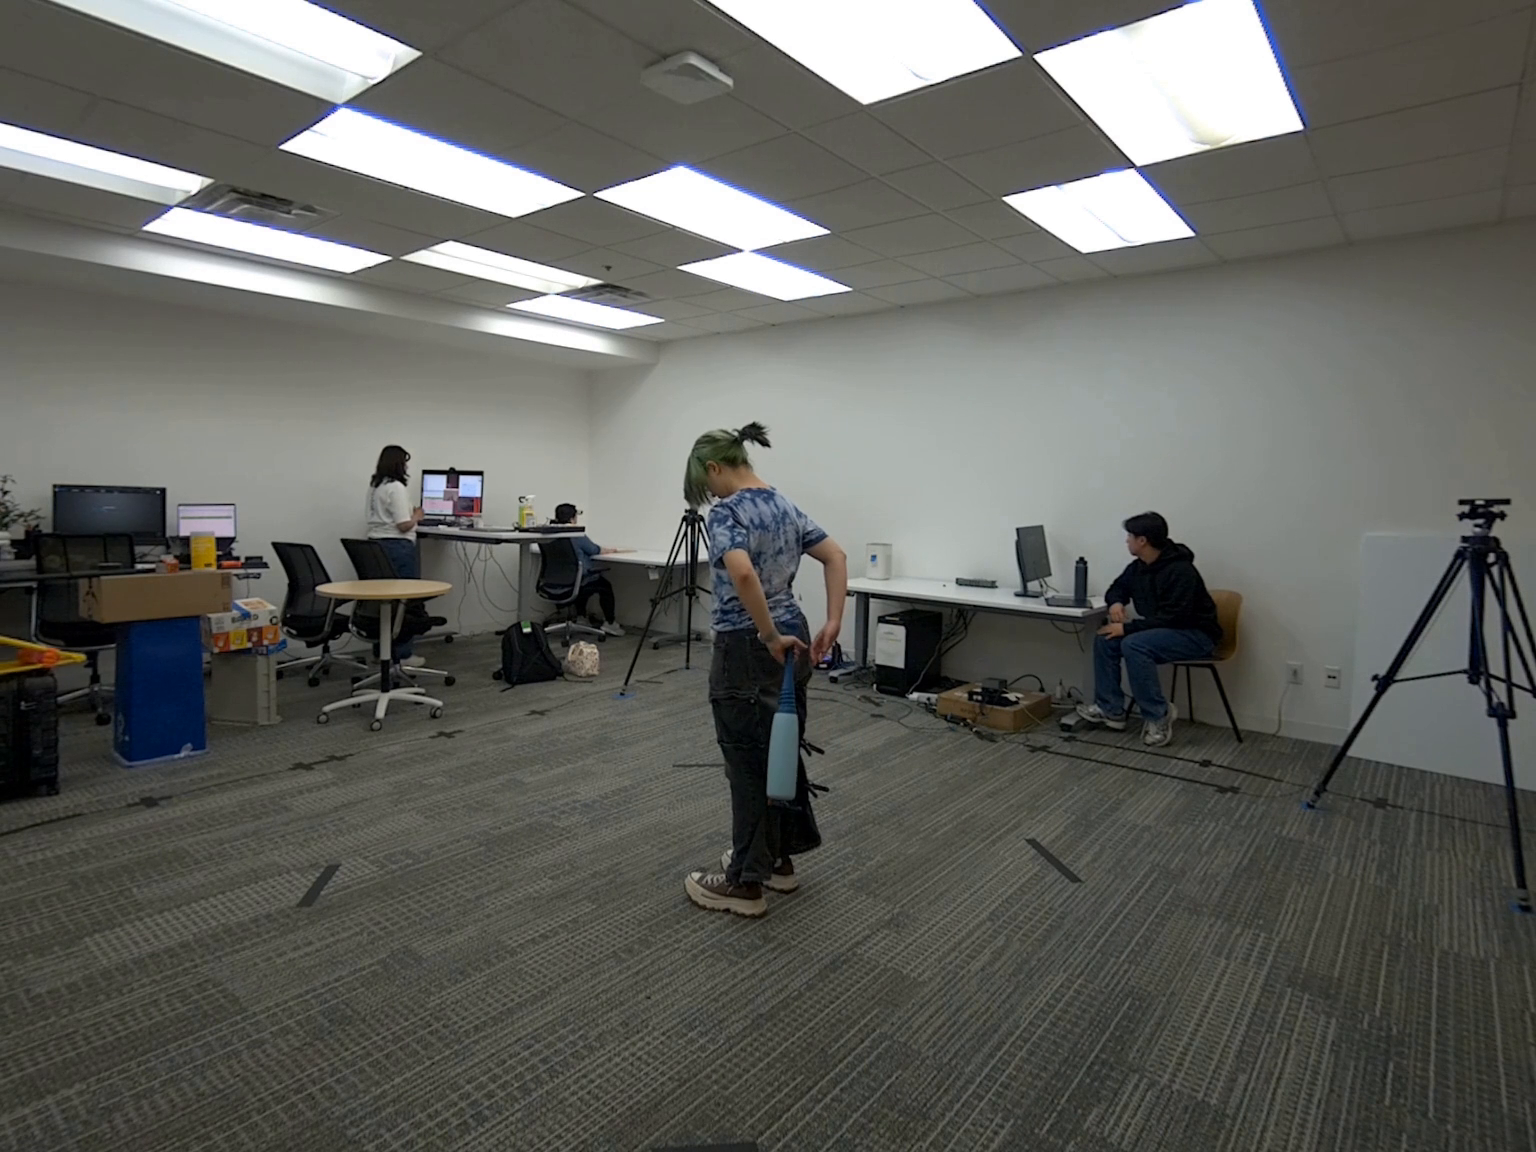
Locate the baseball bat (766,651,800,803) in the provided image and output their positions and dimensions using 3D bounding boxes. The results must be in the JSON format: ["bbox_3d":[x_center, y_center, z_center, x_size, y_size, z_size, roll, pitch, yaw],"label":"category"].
[{"bbox_3d":[0.047,0.401,2.619,0.089,0.551,0.088,6,-17,0],"label":"baseball bat"}]
